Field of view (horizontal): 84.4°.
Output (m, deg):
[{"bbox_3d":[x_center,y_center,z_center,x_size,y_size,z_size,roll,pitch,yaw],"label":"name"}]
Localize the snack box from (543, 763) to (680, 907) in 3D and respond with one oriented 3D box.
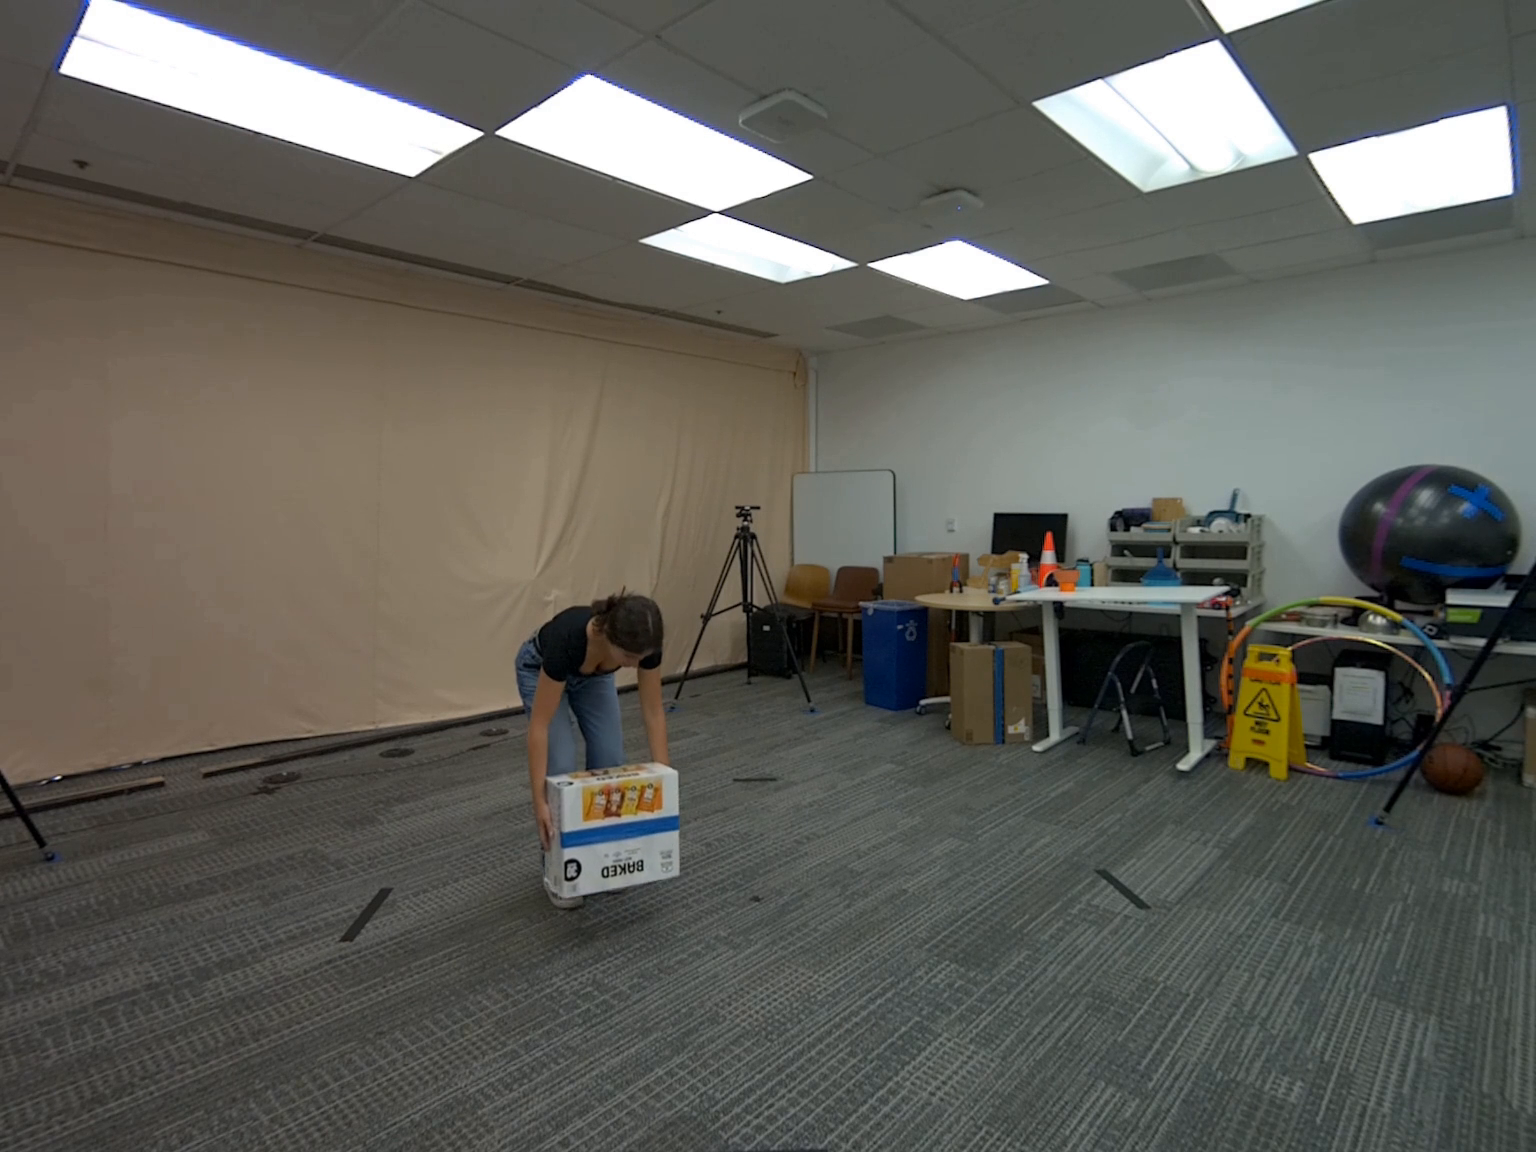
[{"bbox_3d":[-0.515,0.823,2.785,0.394,0.341,0.211,0,-3,-29],"label":"snack box"}]
